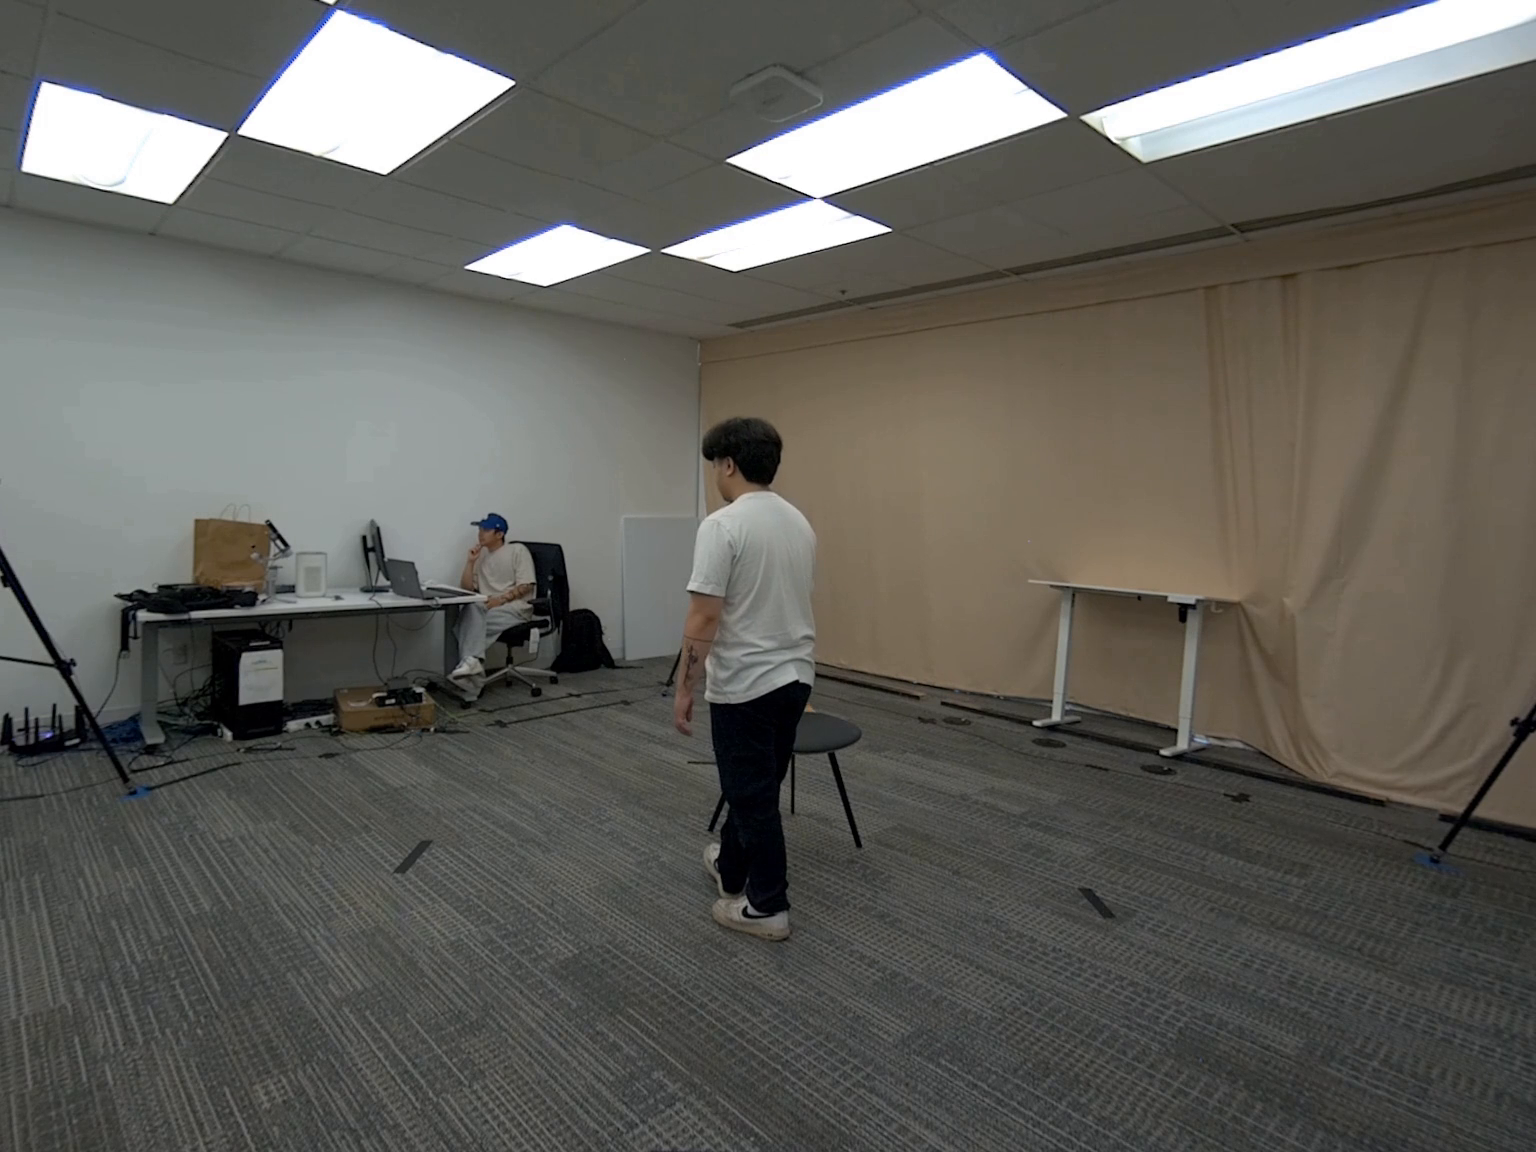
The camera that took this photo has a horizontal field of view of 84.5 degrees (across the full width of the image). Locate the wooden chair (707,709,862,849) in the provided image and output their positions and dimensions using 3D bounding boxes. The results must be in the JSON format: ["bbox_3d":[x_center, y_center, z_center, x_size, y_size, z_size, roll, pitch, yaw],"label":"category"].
[{"bbox_3d":[0.075,0.660,3.423,0.467,0.878,0.534,0,-1,-36],"label":"wooden chair"}]
